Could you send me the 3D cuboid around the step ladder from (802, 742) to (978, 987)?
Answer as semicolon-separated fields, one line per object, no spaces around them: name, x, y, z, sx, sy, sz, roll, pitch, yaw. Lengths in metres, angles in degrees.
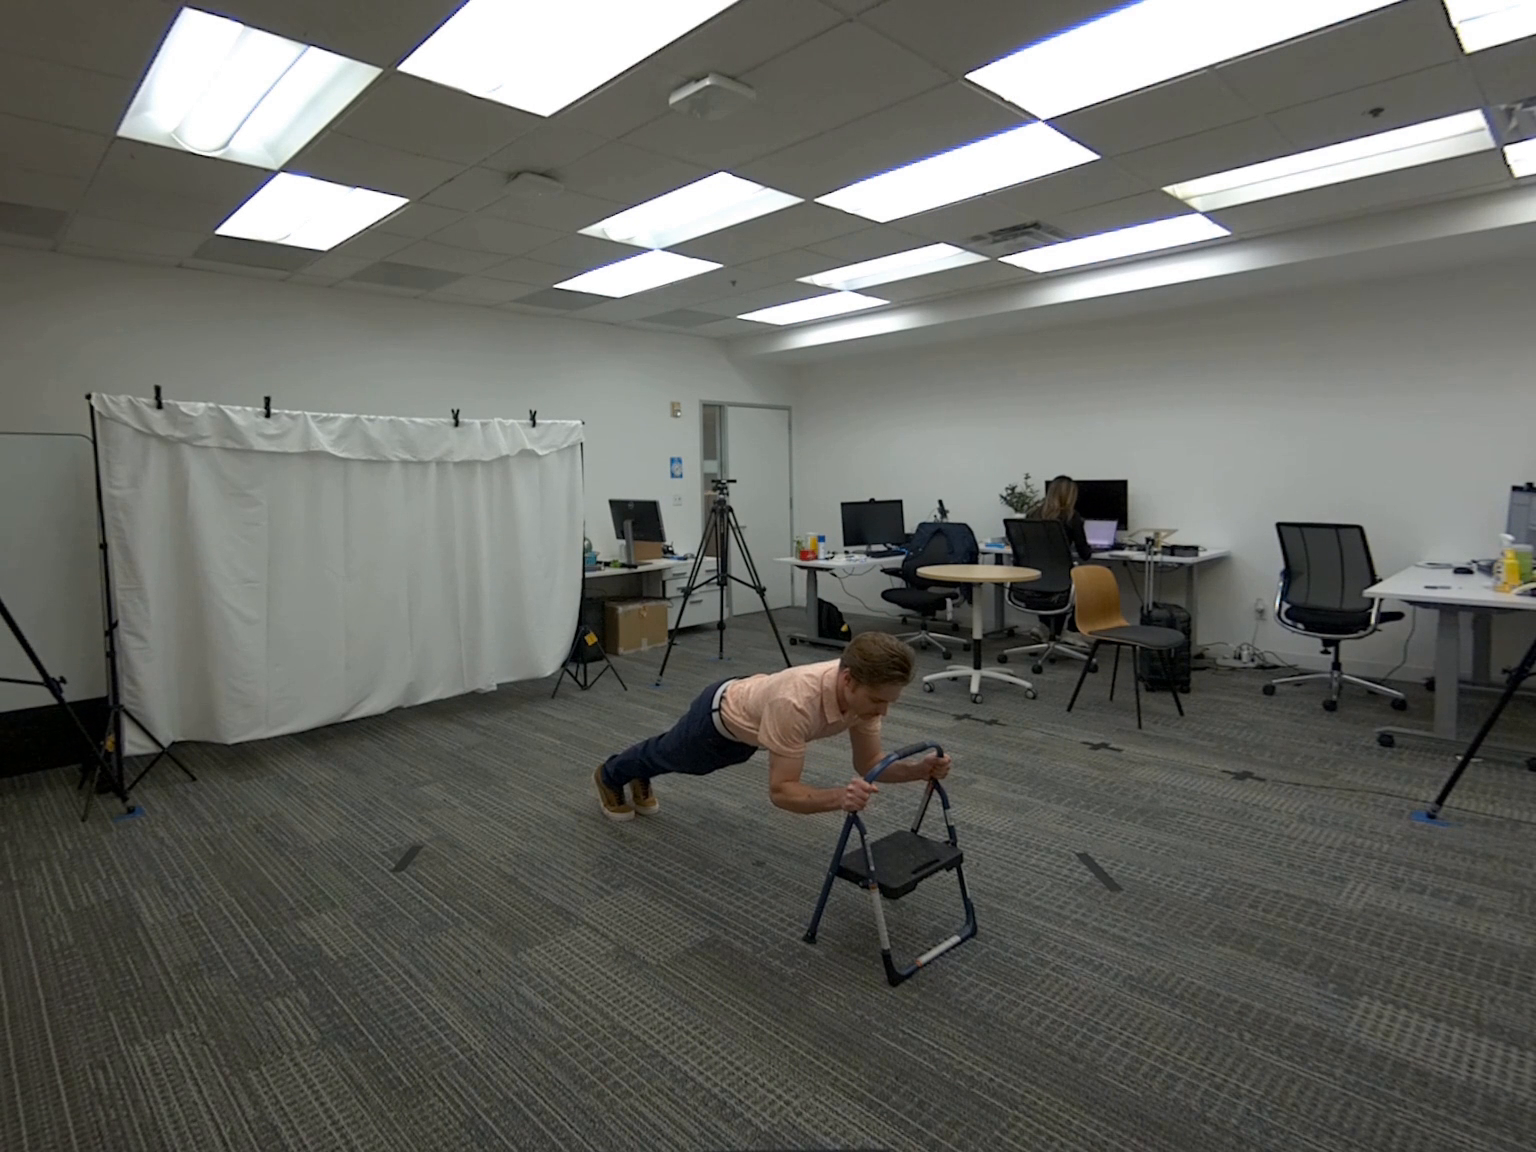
step ladder;0.376;0.800;2.579;0.419;0.604;0.360;-5;6;-43
